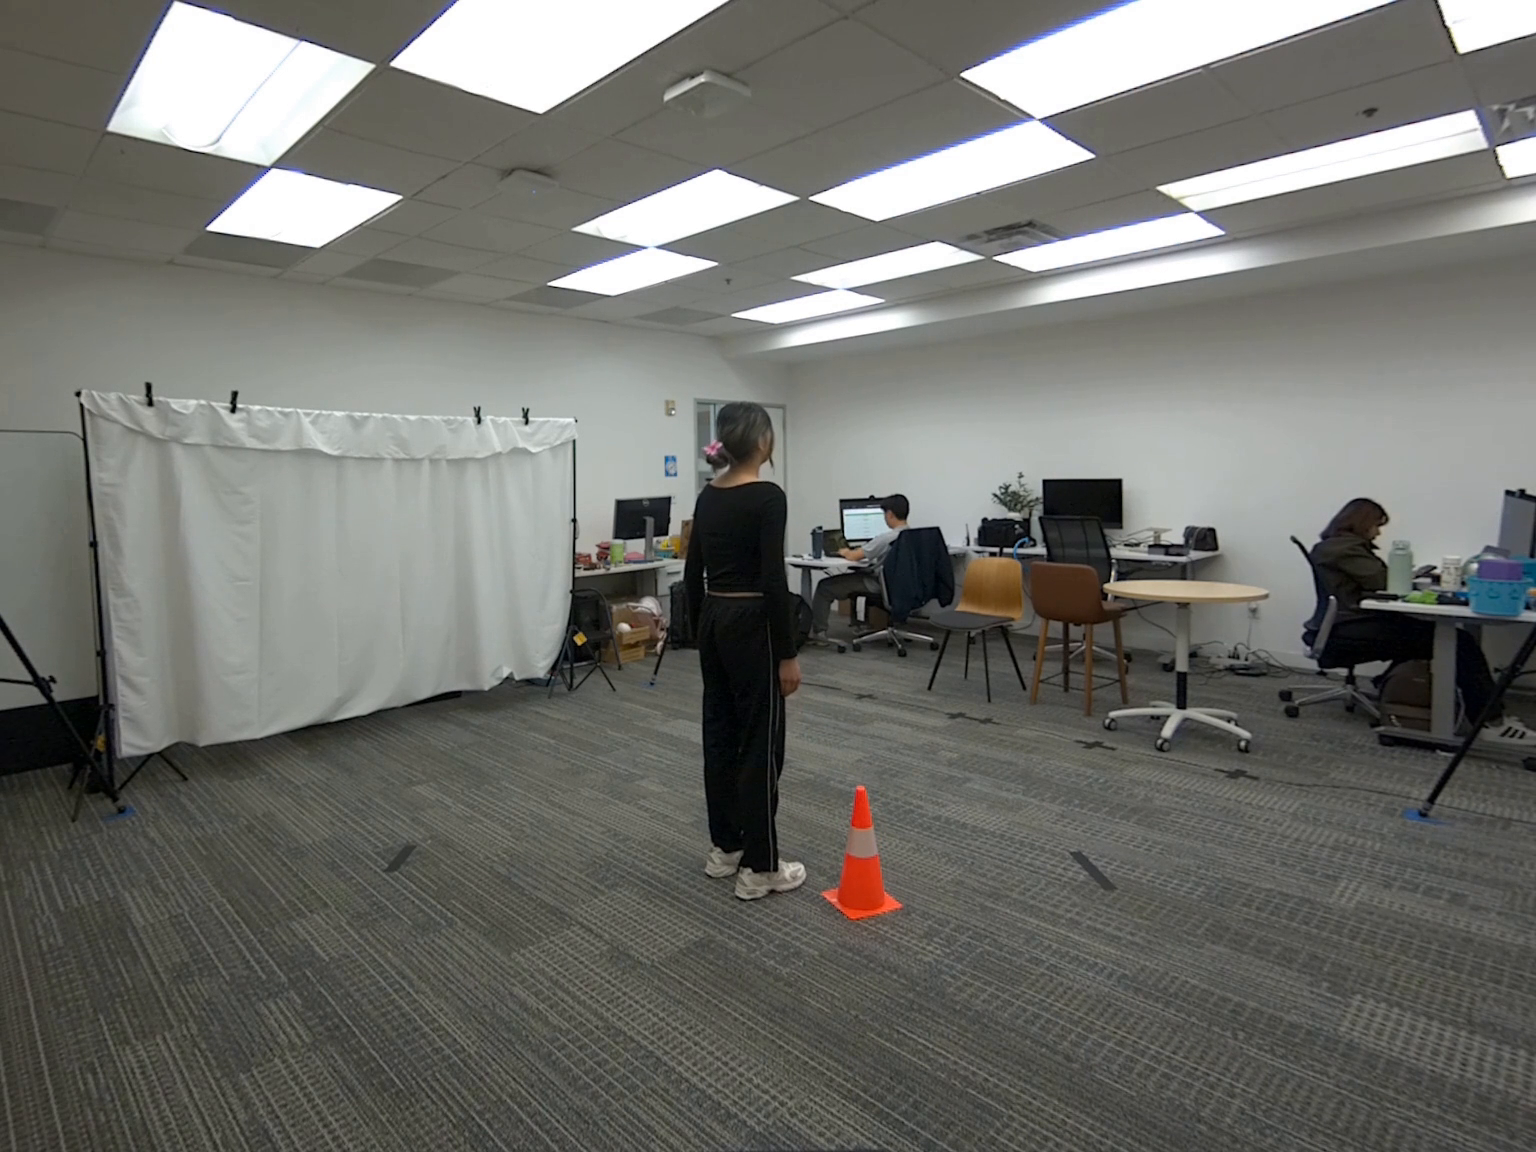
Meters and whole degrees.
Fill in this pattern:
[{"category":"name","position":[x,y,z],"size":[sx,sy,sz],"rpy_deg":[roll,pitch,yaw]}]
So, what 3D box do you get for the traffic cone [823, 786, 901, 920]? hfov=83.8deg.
[{"category":"traffic cone","position":[0.301,0.879,2.803],"size":[0.200,0.382,0.209],"rpy_deg":[-4,5,-28]}]
